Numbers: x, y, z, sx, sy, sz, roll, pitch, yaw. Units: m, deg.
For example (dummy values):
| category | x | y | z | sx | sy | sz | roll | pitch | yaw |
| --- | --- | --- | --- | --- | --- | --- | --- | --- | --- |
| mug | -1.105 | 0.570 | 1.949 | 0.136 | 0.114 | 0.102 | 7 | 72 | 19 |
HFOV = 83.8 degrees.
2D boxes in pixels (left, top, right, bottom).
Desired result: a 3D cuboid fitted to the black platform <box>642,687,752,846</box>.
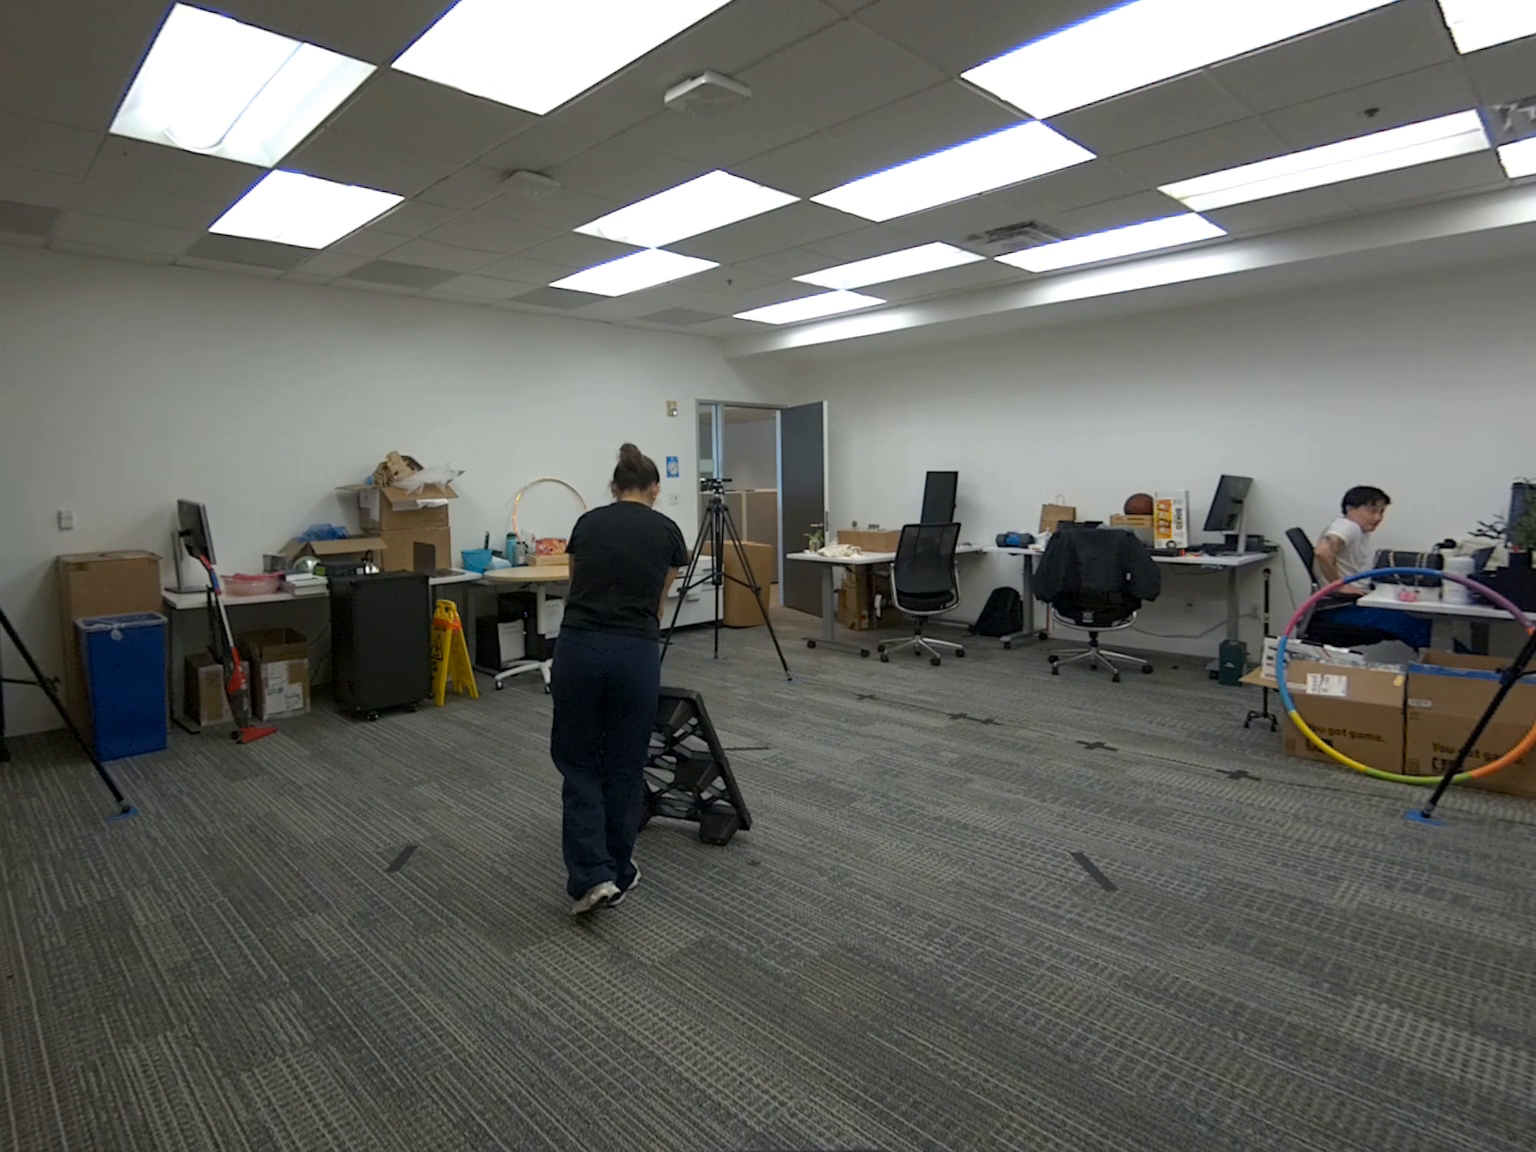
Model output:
| category | x | y | z | sx | sy | sz | roll | pitch | yaw |
| --- | --- | --- | --- | --- | --- | --- | --- | --- | --- |
| black platform | -0.442 | 0.713 | 3.189 | 0.618 | 0.779 | 0.145 | 3 | 41 | 23 |
